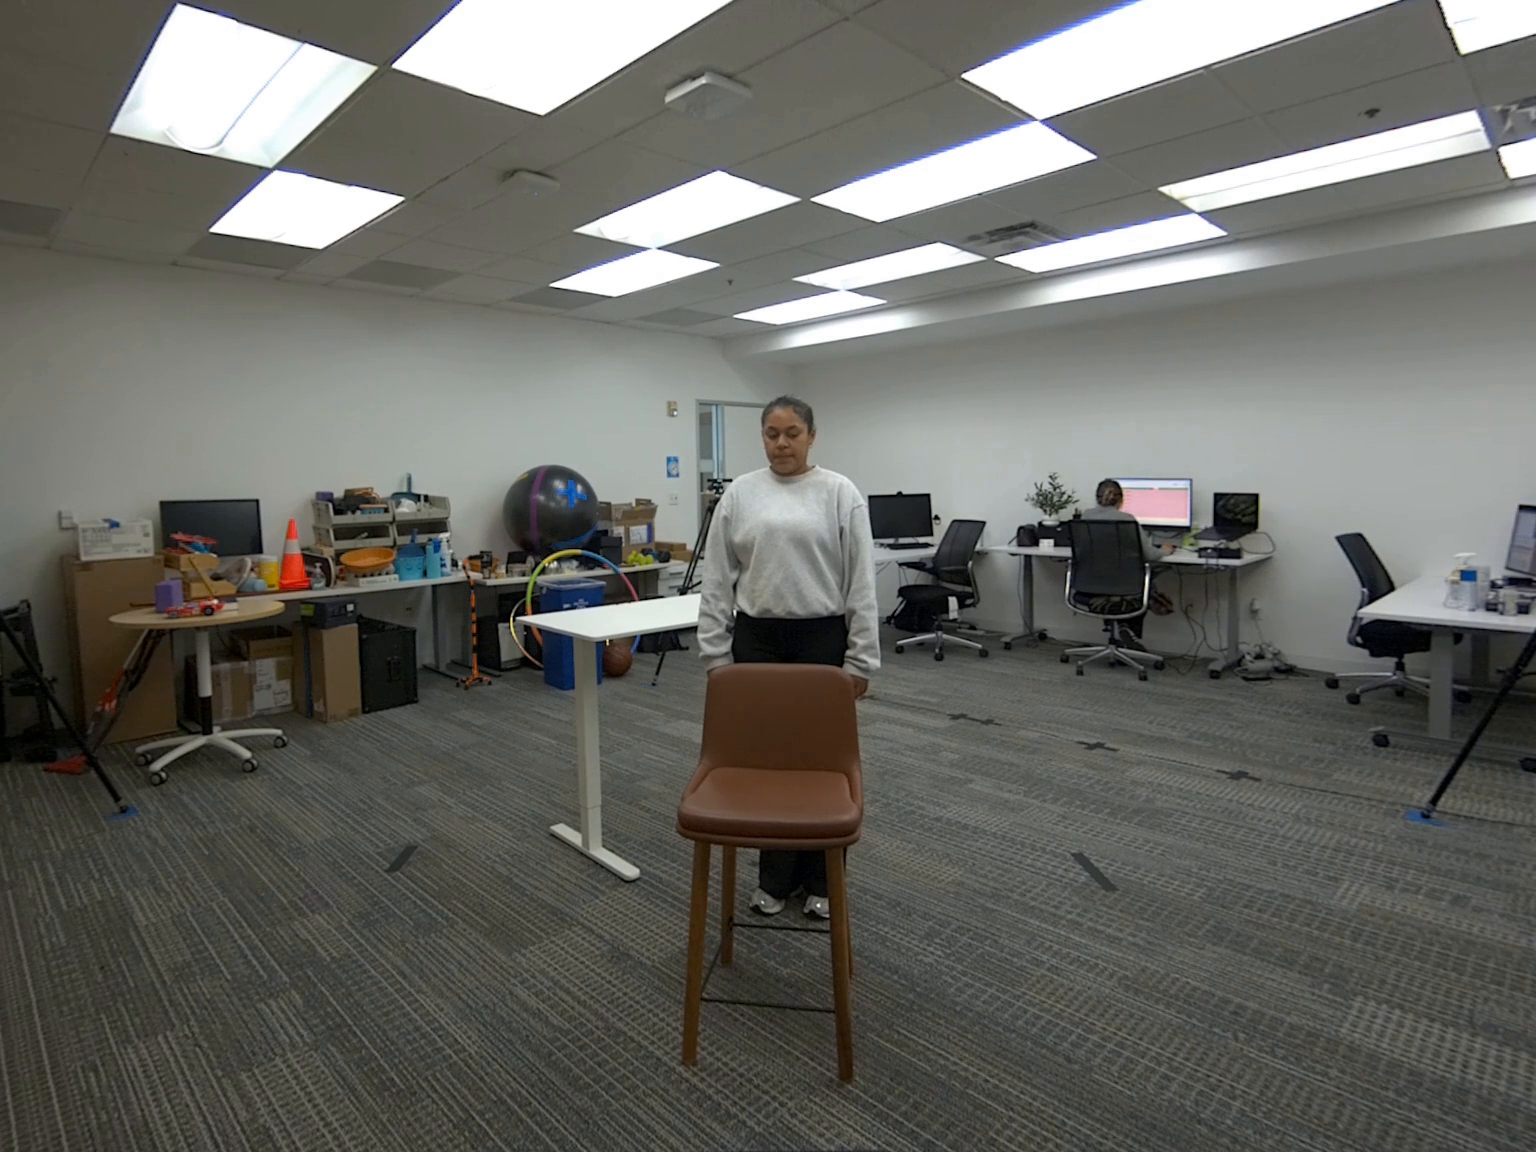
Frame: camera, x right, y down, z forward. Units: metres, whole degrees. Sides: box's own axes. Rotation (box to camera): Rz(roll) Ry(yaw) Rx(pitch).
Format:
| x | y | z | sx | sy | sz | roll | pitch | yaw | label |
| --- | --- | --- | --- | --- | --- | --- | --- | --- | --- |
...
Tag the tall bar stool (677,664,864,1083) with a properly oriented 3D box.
| x | y | z | sx | sy | sz | roll | pitch | yaw | label |
| --- | --- | --- | --- | --- | --- | --- | --- | --- | --- |
| 0.022 | 0.714 | 2.207 | 0.461 | 0.888 | 0.464 | 0 | 3 | 9 | tall bar stool |
